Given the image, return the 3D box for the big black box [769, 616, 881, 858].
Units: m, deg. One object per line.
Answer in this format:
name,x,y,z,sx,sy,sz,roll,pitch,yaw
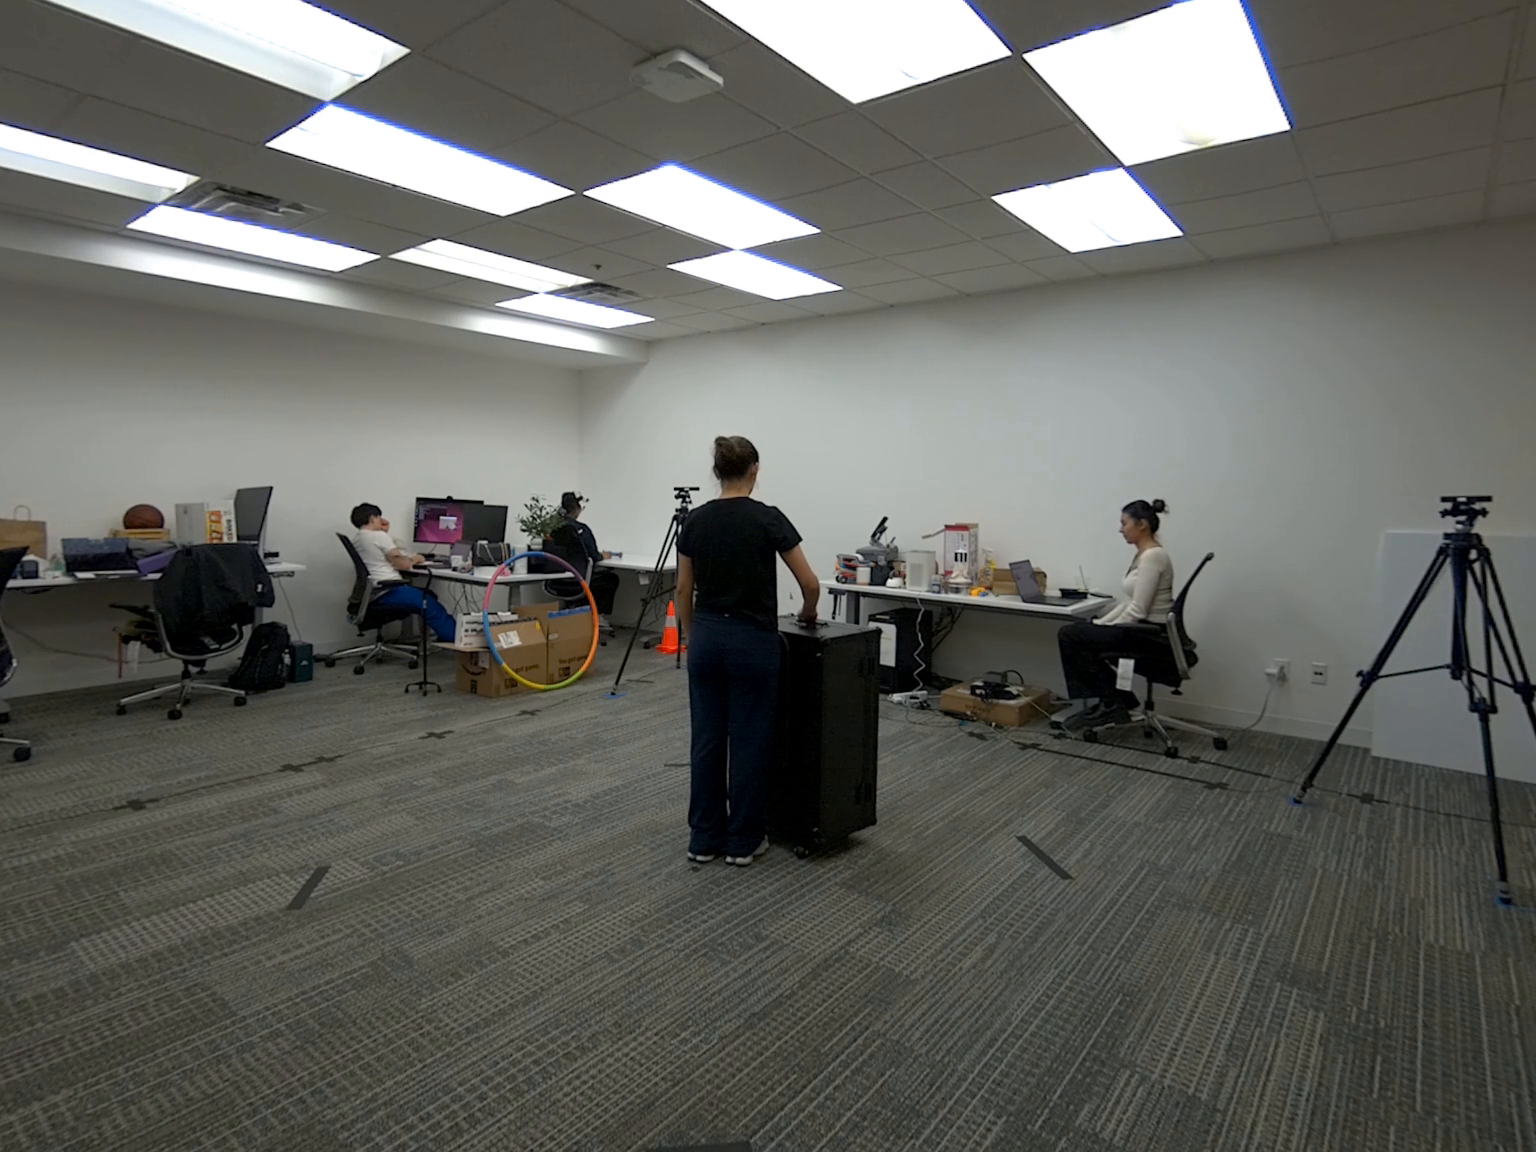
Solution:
big black box,0.153,0.558,3.411,0.384,0.859,0.539,-3,5,-44
